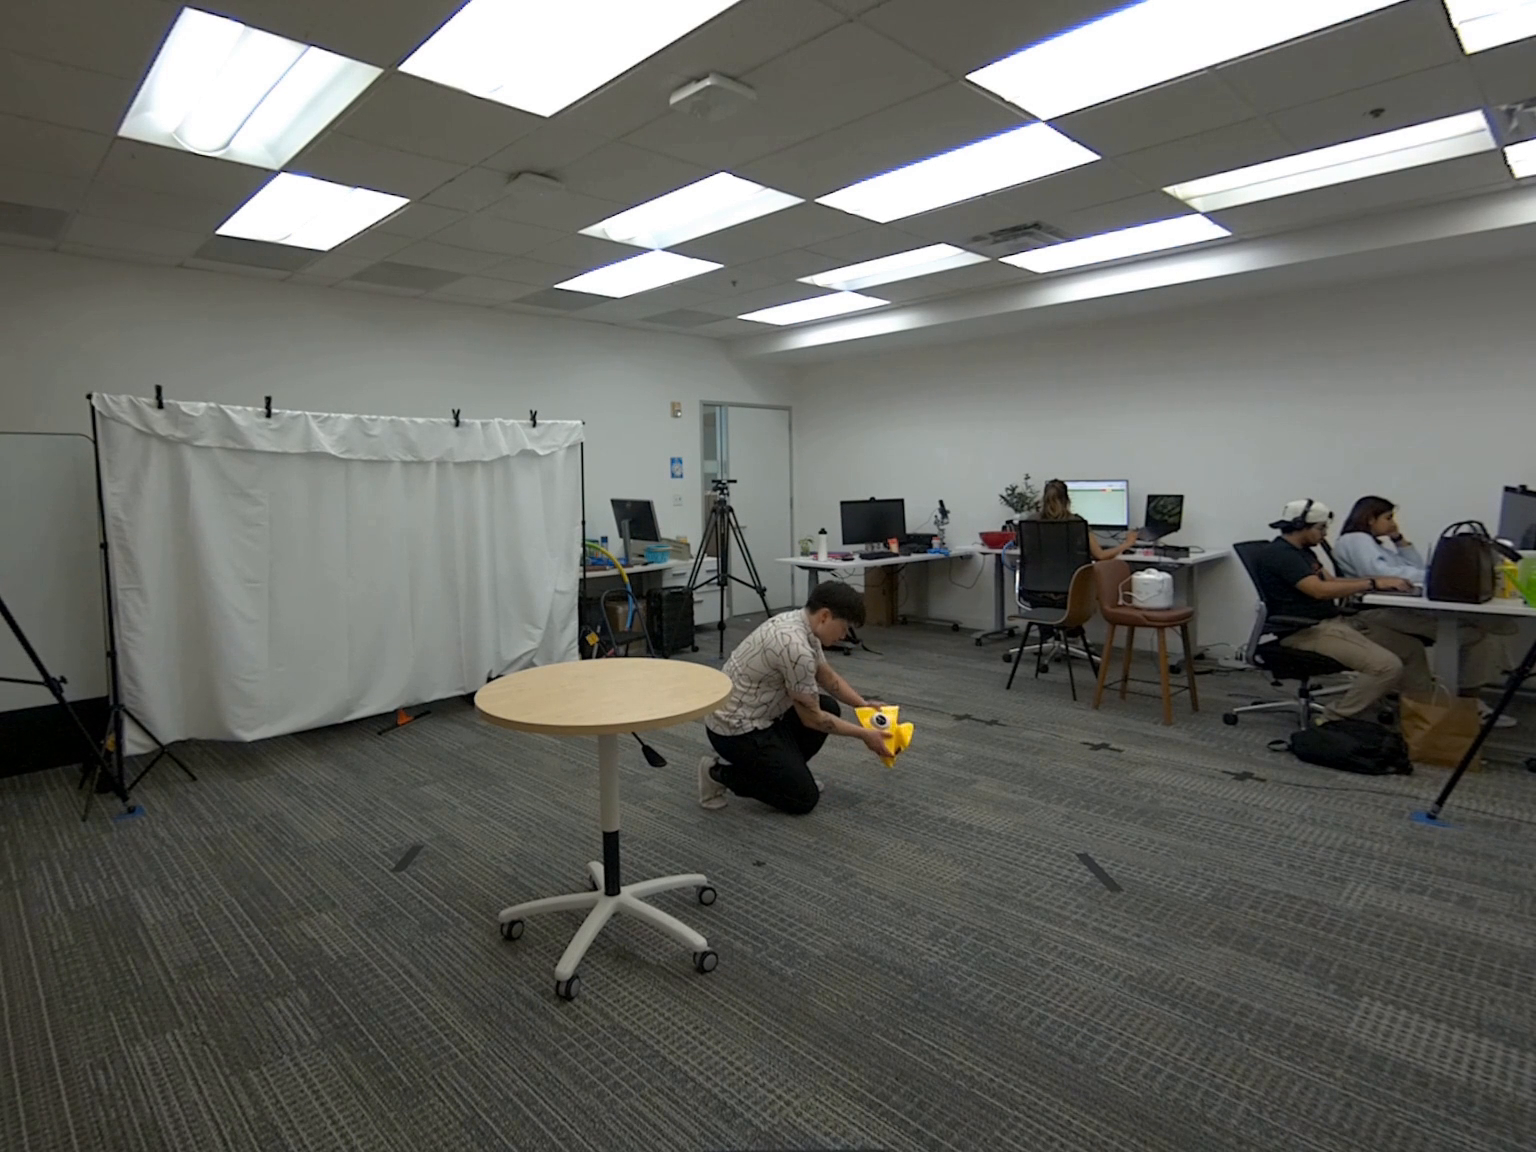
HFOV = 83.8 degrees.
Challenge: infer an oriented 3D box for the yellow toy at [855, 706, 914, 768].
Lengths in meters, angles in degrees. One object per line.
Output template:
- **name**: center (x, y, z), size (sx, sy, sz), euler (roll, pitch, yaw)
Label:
- **yellow toy**: center (0.457, 0.655, 3.620), size (0.232, 0.203, 0.194), euler (29, 28, 3)
